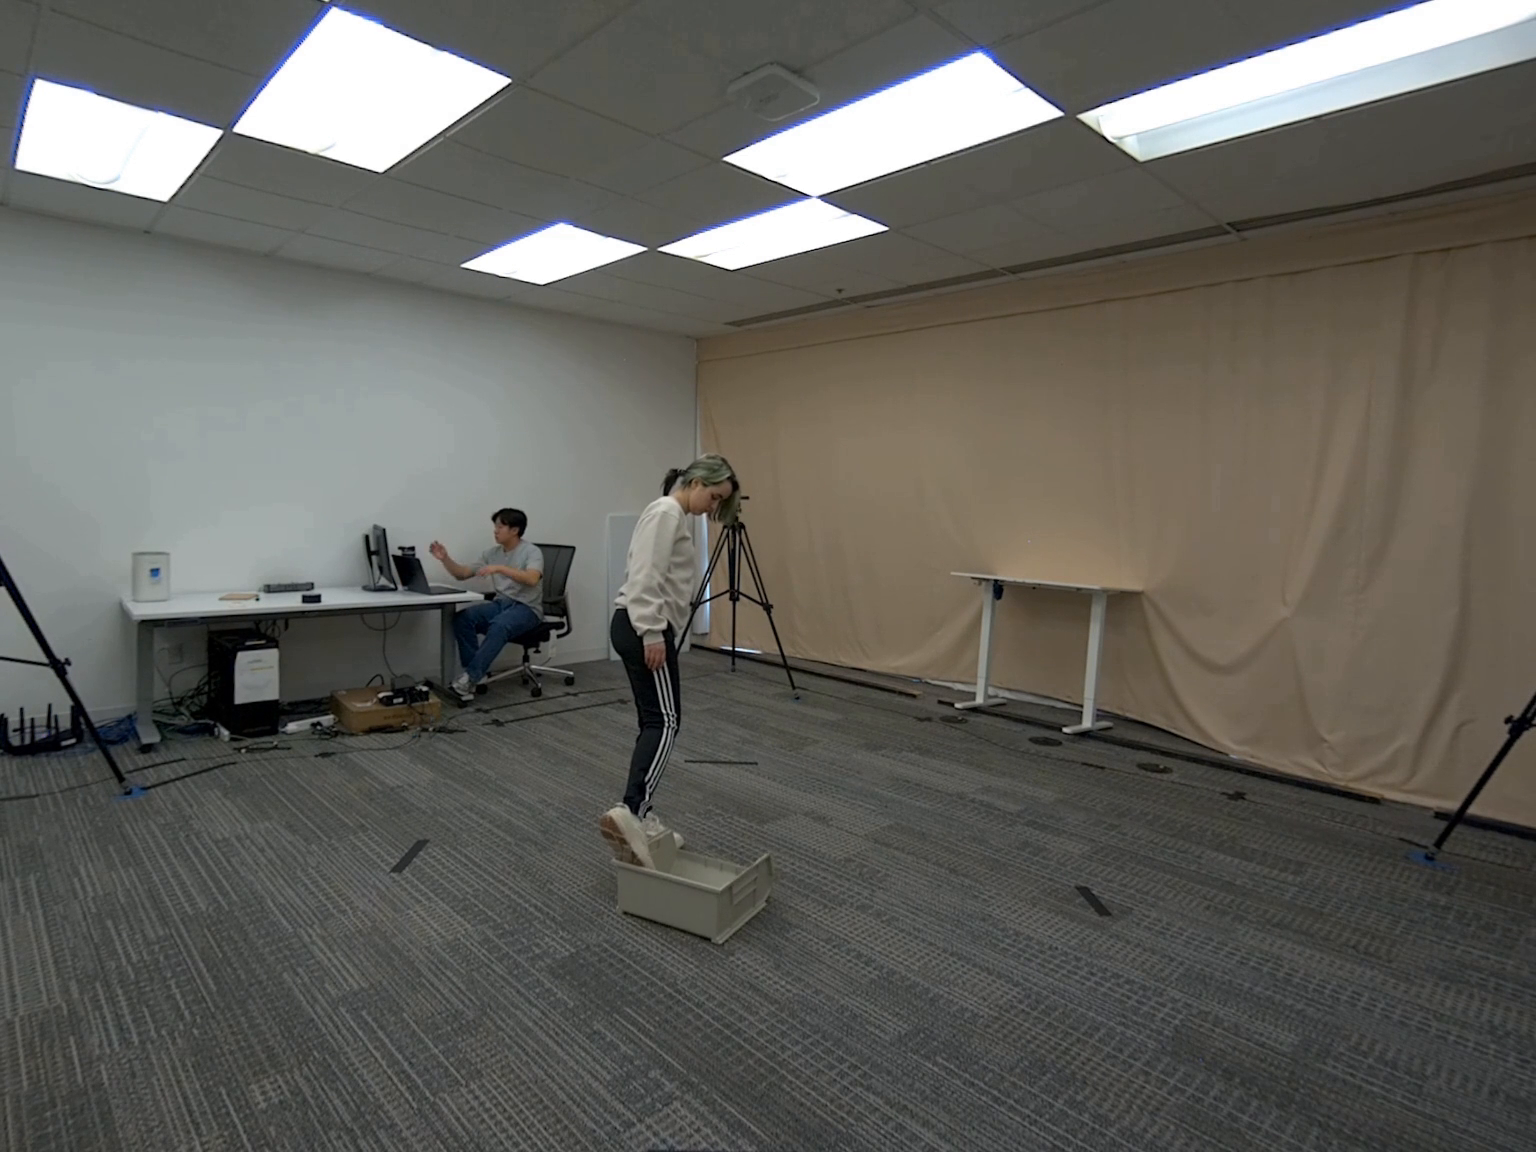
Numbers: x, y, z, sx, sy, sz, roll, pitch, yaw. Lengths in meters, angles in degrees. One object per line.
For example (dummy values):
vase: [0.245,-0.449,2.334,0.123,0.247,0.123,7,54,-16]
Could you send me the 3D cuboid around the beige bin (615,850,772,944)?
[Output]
beige bin: [-0.255,1.031,2.854,0.431,0.188,0.370,4,6,29]
